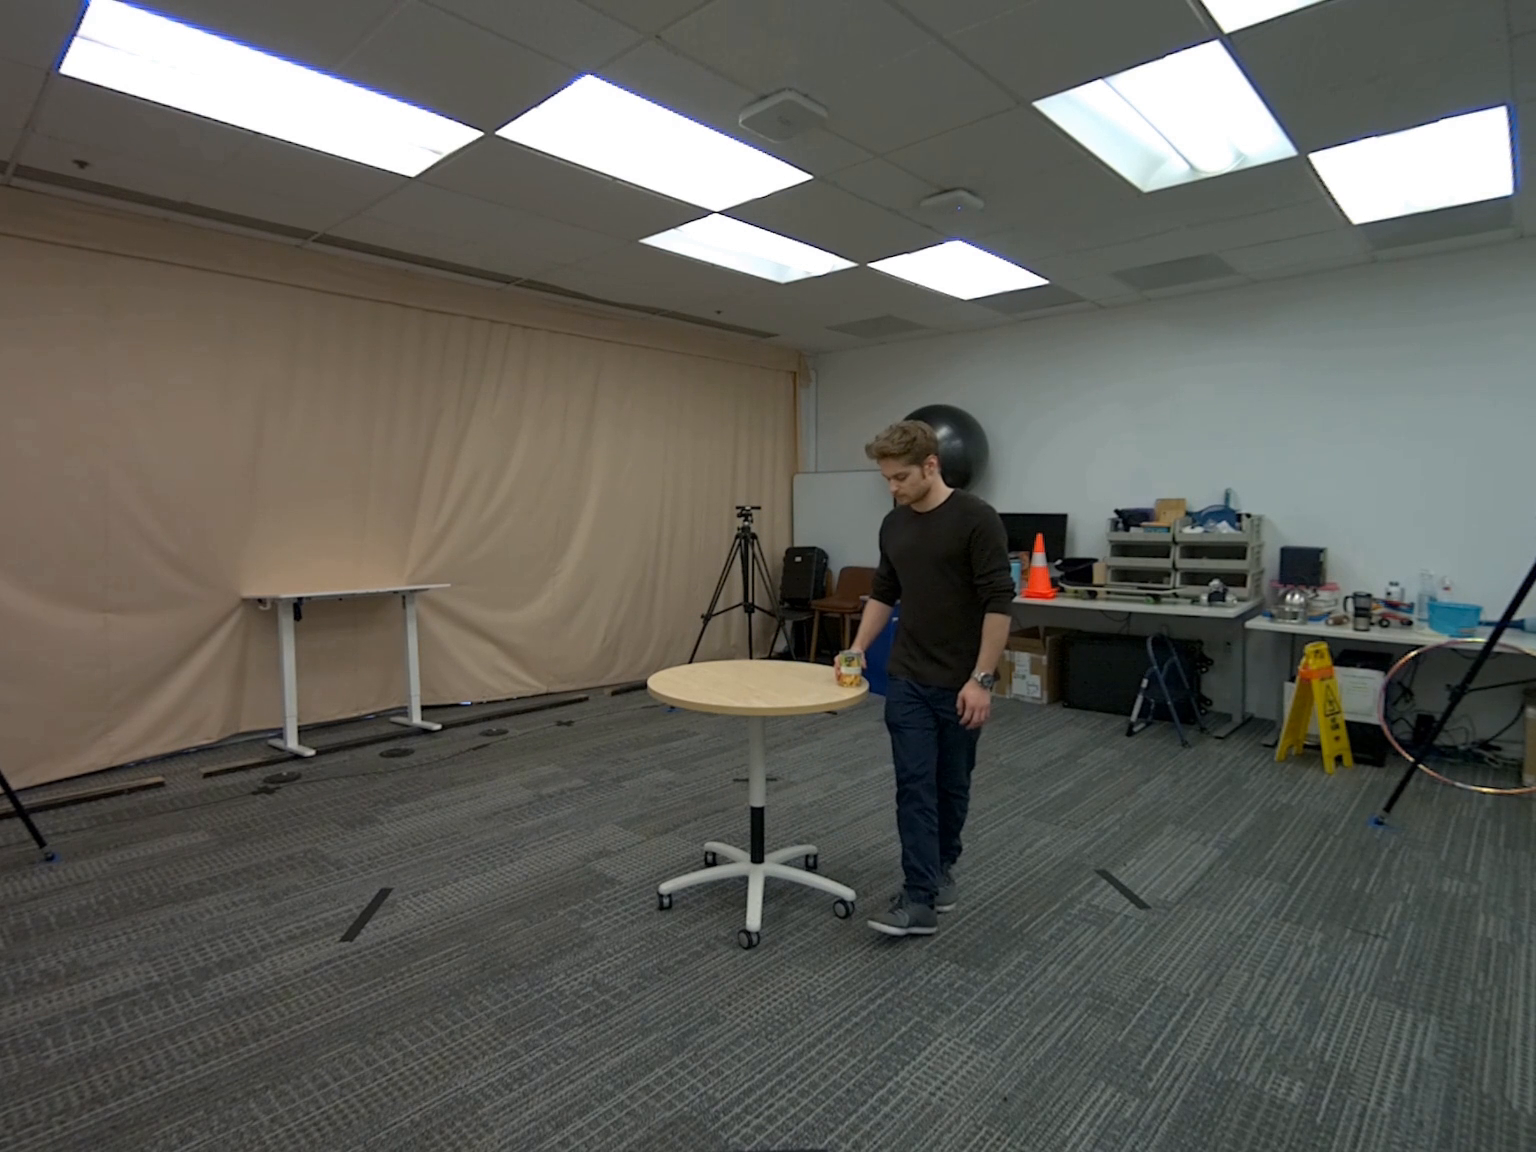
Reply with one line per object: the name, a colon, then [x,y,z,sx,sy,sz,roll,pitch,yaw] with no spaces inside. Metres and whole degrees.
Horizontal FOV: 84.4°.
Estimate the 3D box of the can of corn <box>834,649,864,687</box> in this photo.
can of corn: [0.283,0.315,2.864,0.074,0.111,0.074,-1,2,-2]
